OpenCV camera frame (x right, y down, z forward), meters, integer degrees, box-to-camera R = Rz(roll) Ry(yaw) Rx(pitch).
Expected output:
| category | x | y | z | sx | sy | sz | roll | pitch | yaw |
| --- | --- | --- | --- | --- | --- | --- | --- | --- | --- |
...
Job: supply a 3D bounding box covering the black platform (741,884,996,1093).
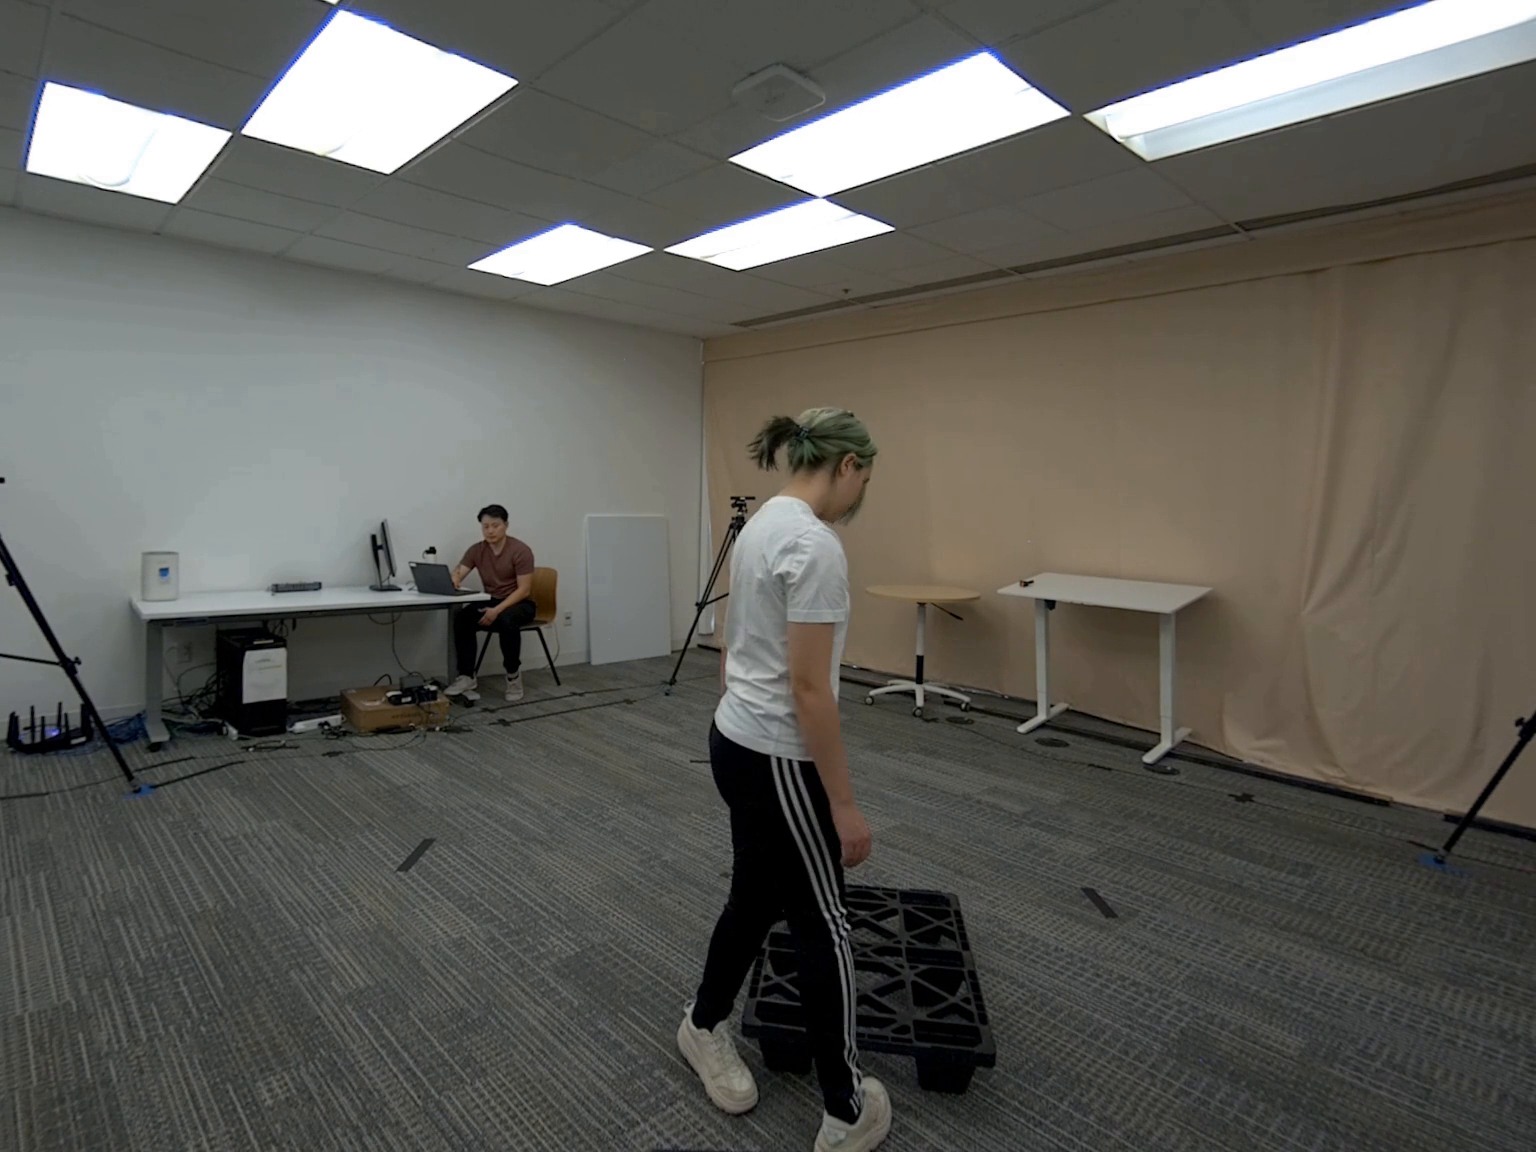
| category | x | y | z | sx | sy | sz | roll | pitch | yaw |
| --- | --- | --- | --- | --- | --- | --- | --- | --- | --- |
| black platform | 0.268 | 1.115 | 2.374 | 0.609 | 0.143 | 0.803 | 3 | 6 | 7 |
